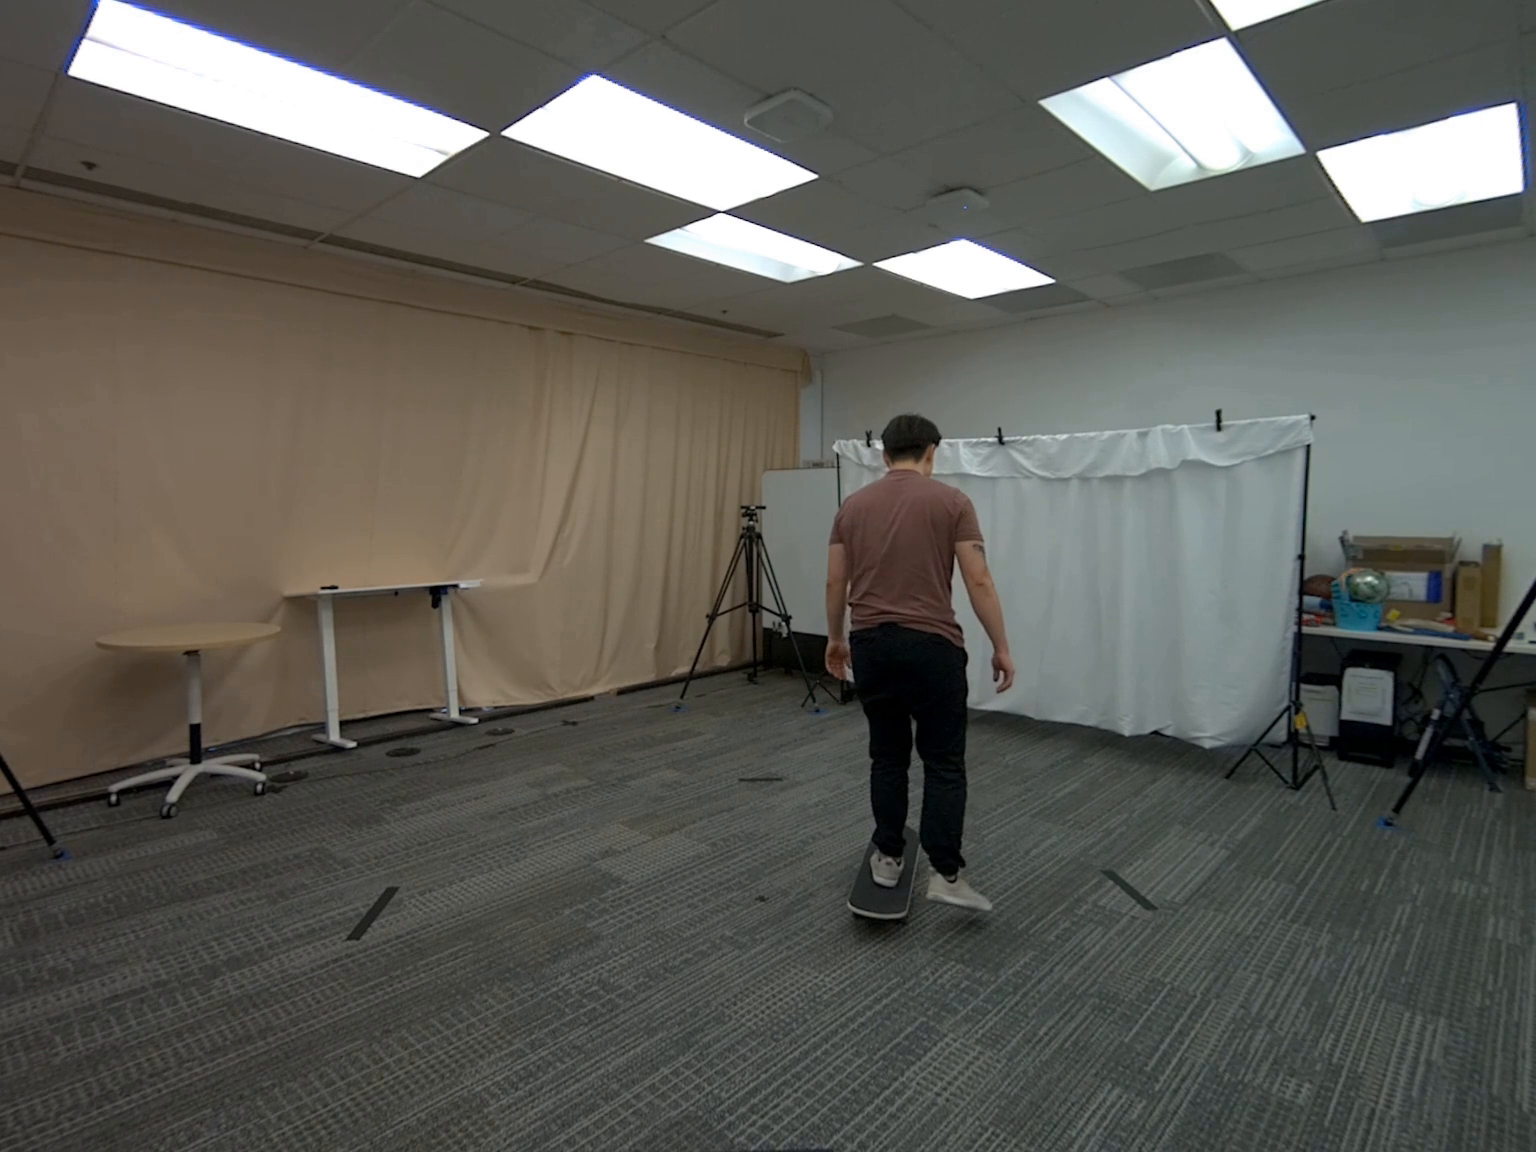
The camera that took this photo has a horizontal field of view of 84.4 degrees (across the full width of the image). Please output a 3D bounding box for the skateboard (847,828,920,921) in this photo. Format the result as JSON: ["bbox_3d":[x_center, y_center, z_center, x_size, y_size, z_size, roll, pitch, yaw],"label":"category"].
[{"bbox_3d":[0.435,1.083,3.016,0.197,0.110,0.773,1,5,15],"label":"skateboard"}]
